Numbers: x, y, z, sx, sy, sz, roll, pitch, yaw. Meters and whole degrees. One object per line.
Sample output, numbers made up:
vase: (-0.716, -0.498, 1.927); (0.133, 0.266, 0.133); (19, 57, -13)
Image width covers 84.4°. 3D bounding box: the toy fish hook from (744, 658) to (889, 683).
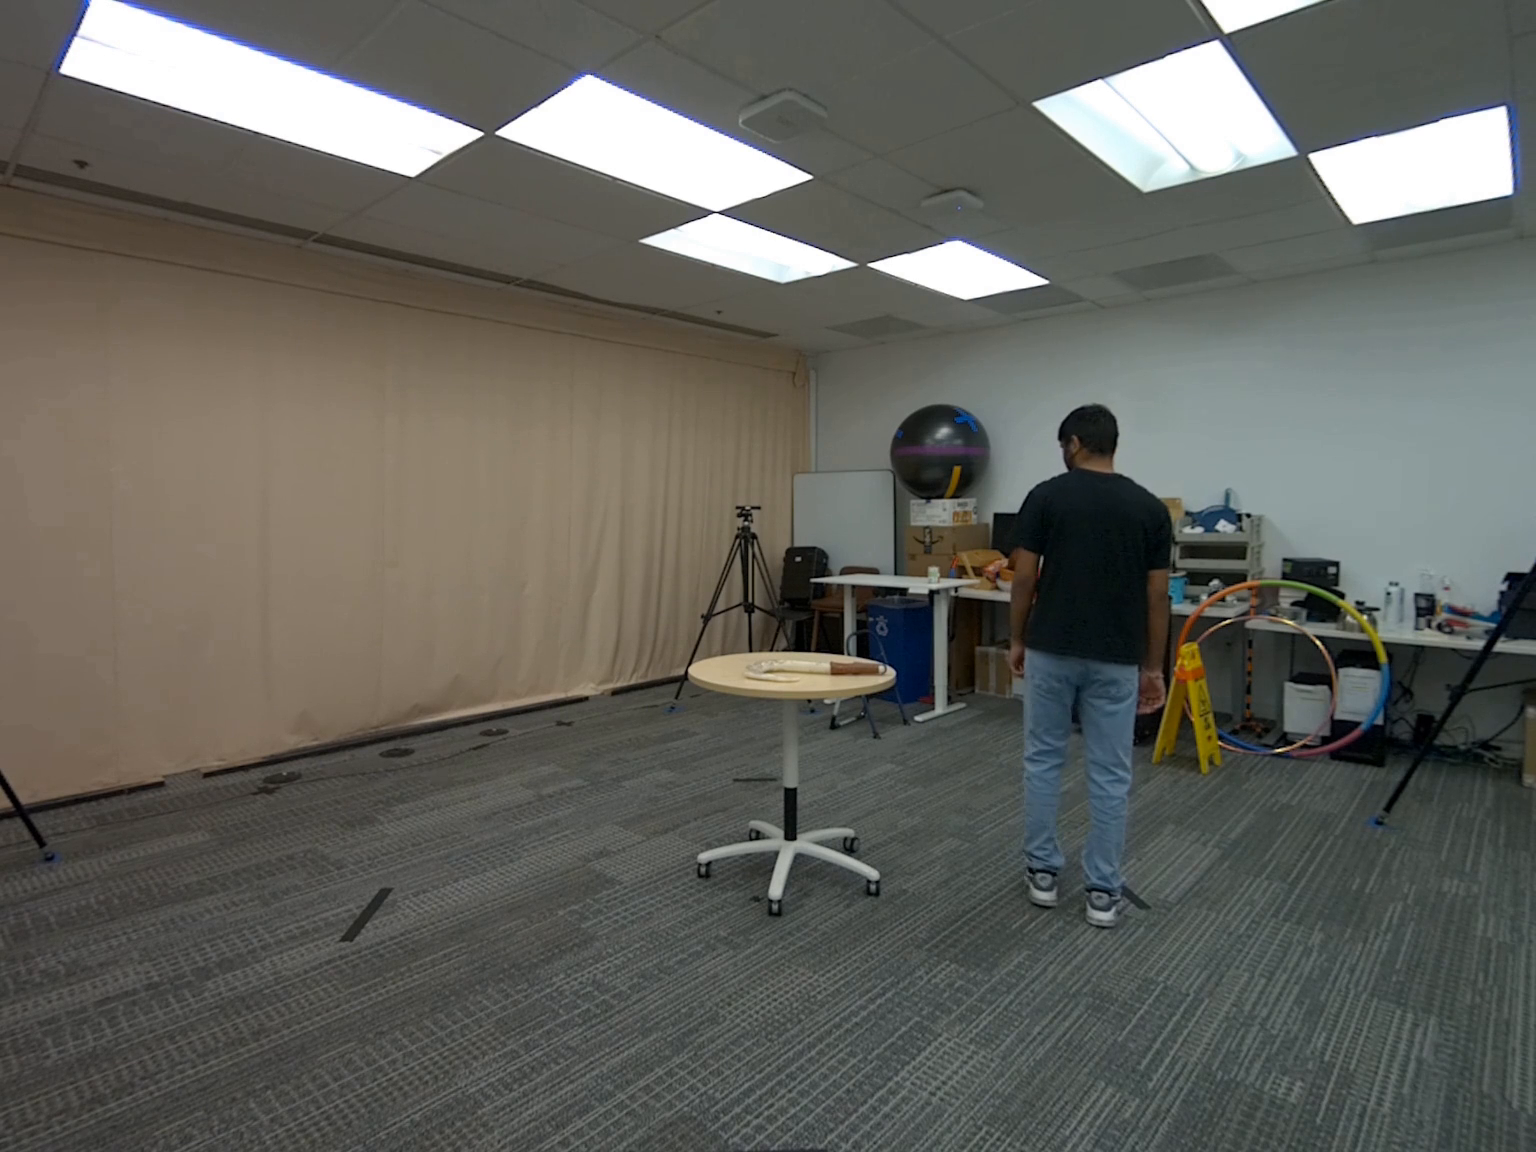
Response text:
toy fish hook: (0.185, 0.346, 2.992); (0.509, 0.048, 0.225); (-1, 12, 4)
